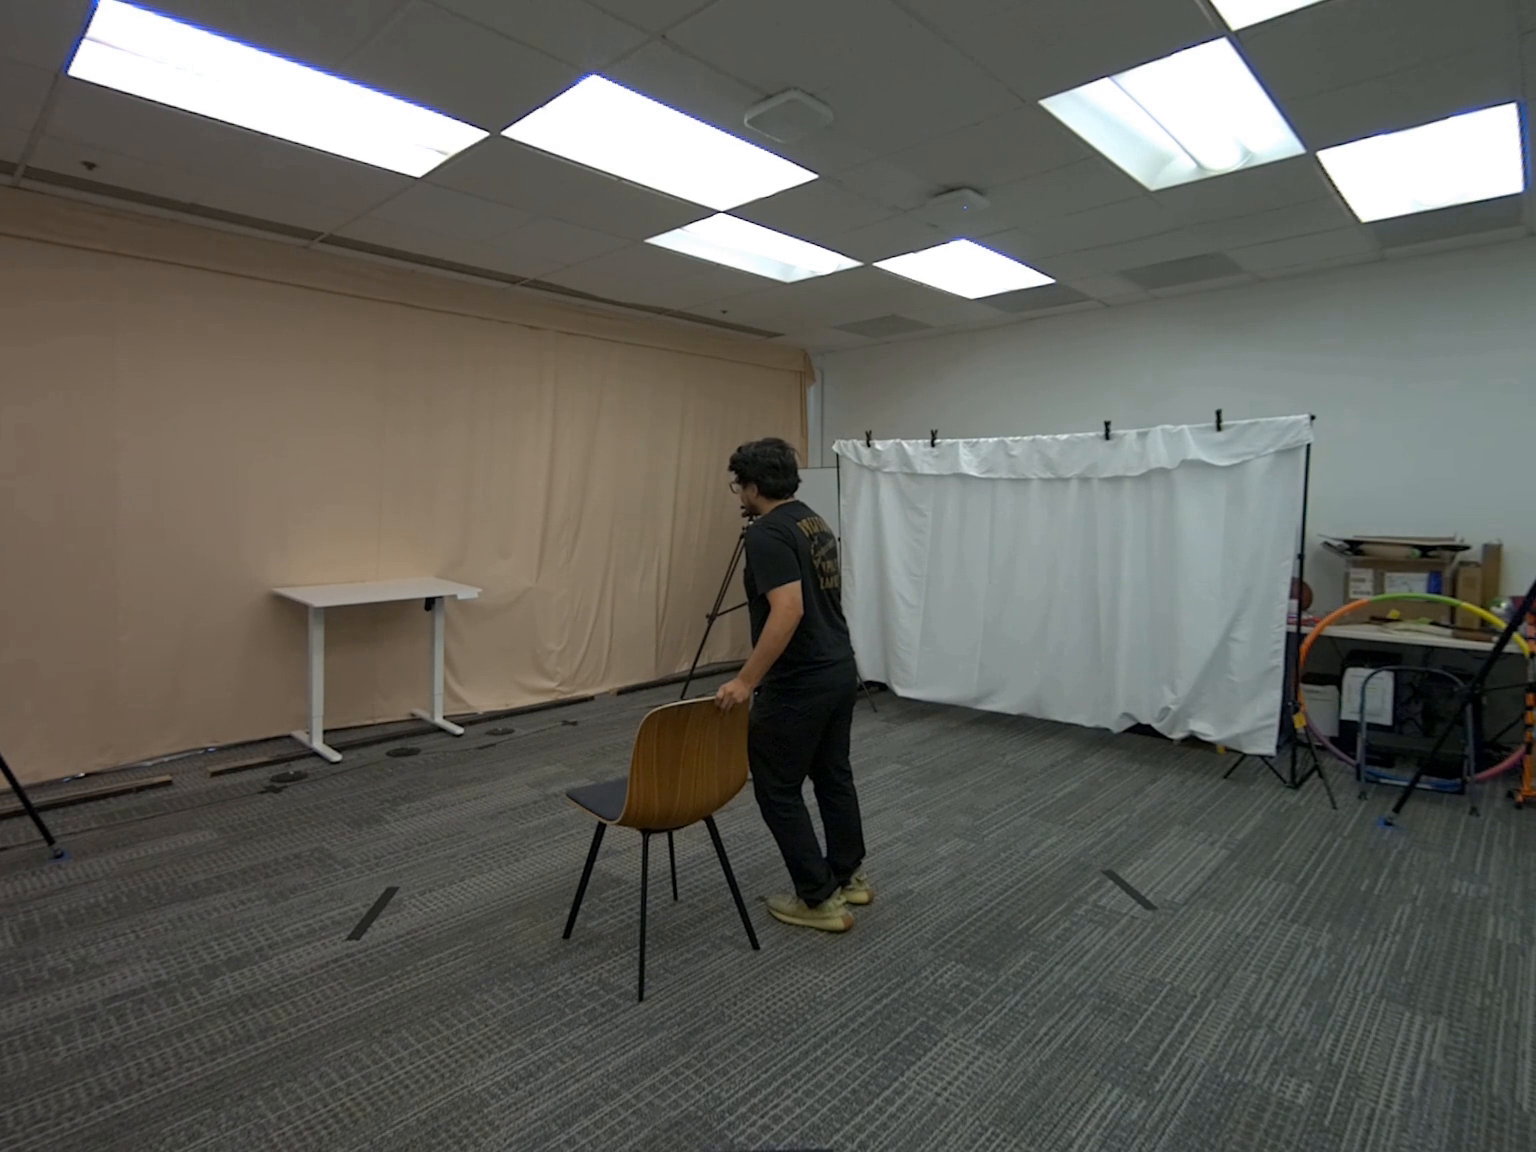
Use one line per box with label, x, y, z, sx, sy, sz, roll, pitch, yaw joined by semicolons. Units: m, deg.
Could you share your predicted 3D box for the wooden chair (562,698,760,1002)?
wooden chair;-0.351;0.748;2.654;0.463;0.874;0.541;-2;8;-41
